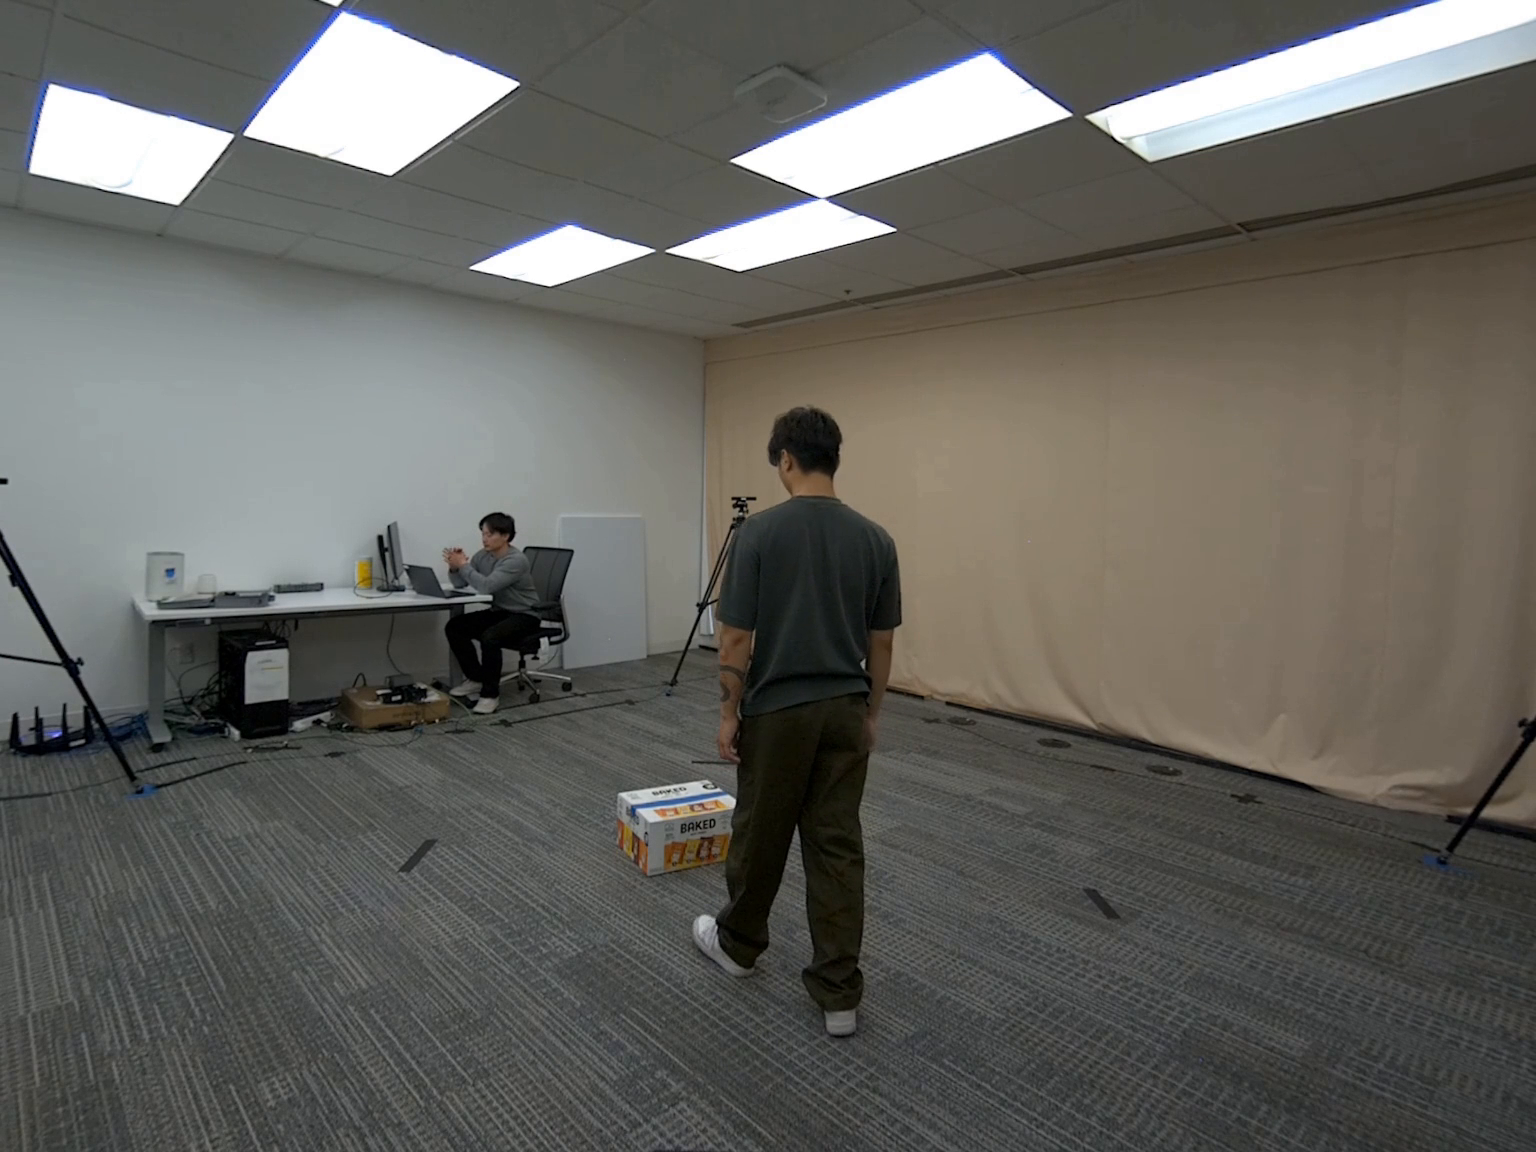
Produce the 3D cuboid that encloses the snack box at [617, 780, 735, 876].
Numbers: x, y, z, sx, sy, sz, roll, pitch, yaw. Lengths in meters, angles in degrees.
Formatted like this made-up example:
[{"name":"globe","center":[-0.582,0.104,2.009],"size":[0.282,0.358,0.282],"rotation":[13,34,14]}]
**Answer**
[{"name":"snack box","center":[-0.349,0.977,3.313],"size":[0.397,0.205,0.348],"rotation":[-1,5,-29]}]
